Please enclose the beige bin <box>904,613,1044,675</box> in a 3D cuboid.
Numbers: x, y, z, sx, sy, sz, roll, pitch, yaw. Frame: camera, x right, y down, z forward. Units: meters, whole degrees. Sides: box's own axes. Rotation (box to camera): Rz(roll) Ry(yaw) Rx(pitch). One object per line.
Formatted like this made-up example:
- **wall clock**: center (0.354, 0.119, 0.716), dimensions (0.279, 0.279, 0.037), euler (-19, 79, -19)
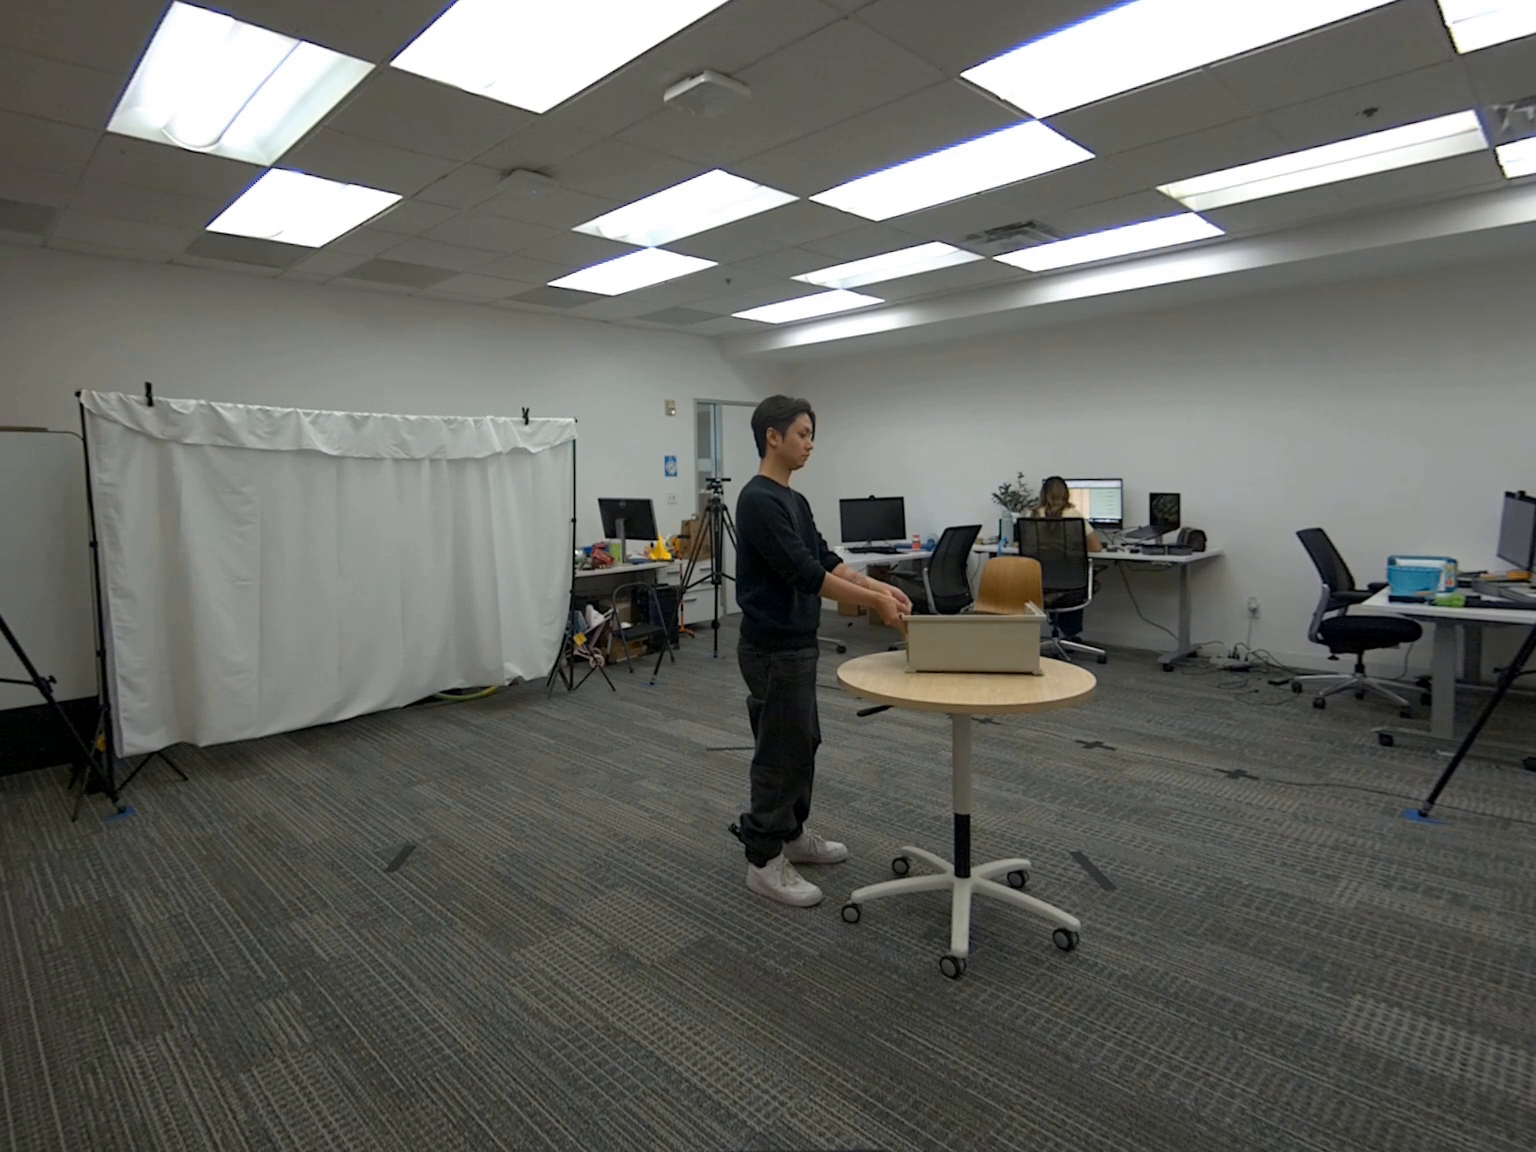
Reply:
- **beige bin**: center (0.654, 0.183, 2.777), dimensions (0.427, 0.188, 0.375), euler (-1, 6, 10)
